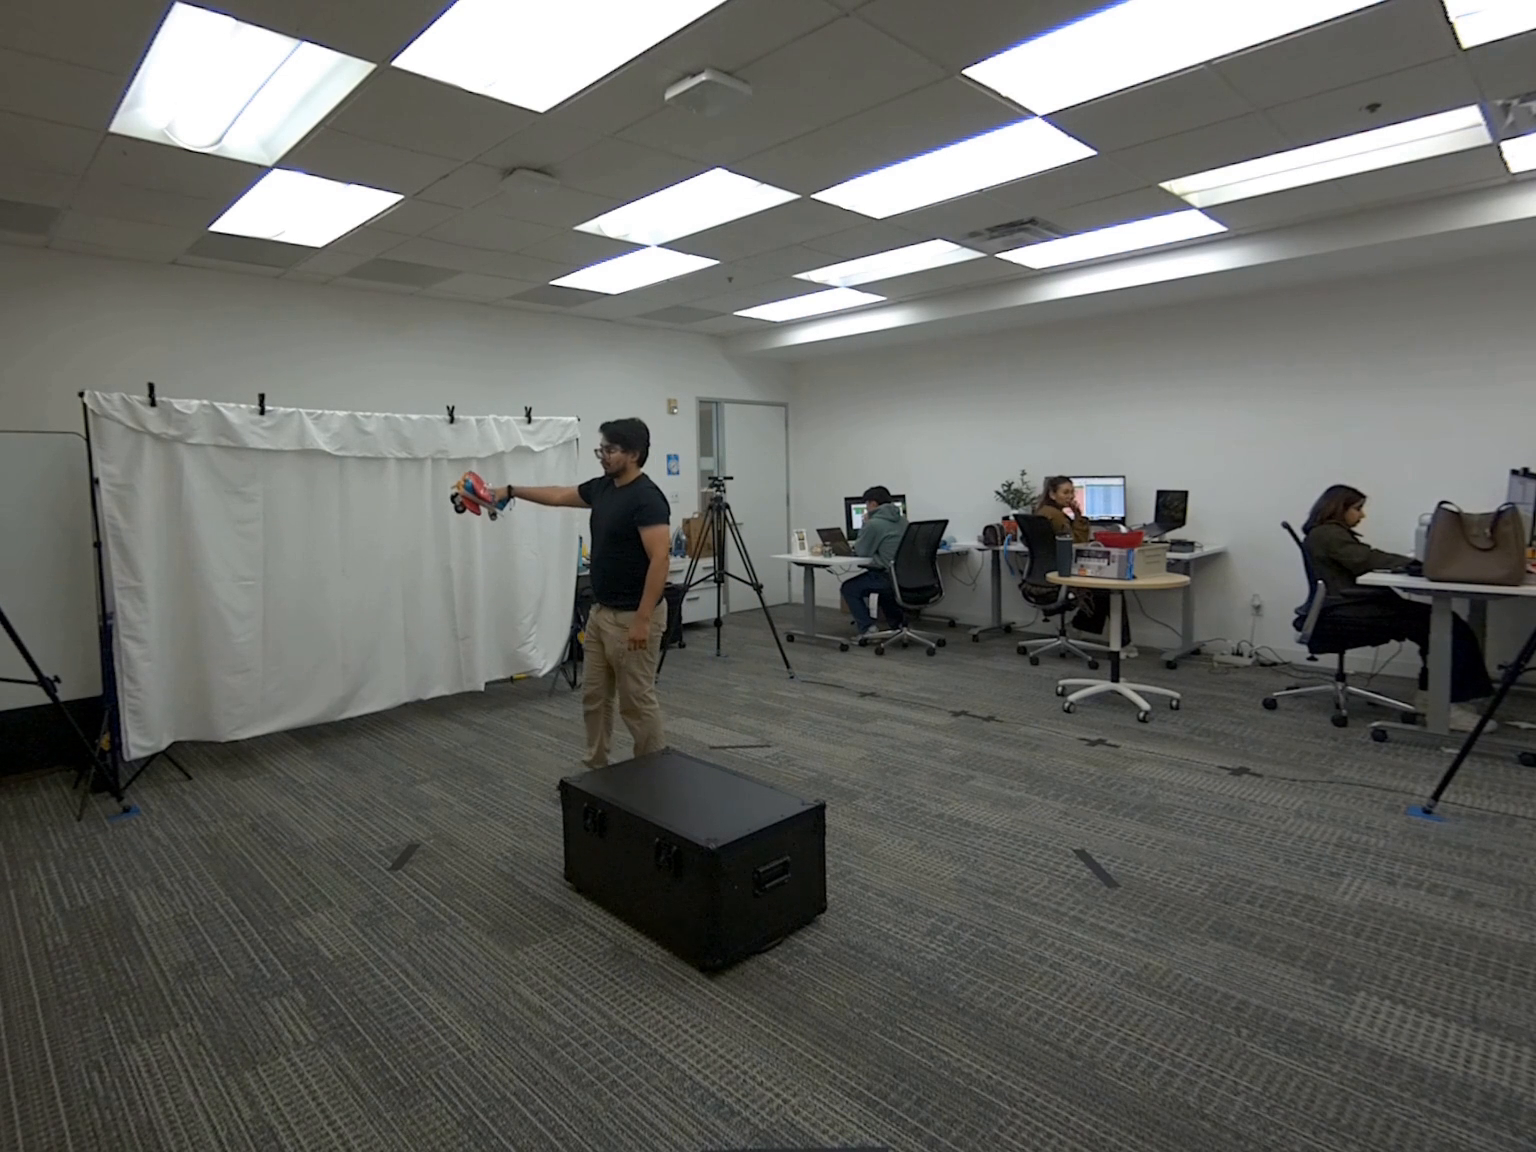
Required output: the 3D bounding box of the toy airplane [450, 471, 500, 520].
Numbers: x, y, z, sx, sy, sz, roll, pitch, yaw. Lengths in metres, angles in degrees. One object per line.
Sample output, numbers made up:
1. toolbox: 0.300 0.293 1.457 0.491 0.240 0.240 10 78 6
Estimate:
1. toy airplane: -1.322 -0.361 3.904 0.257 0.156 0.254 39 18 18
